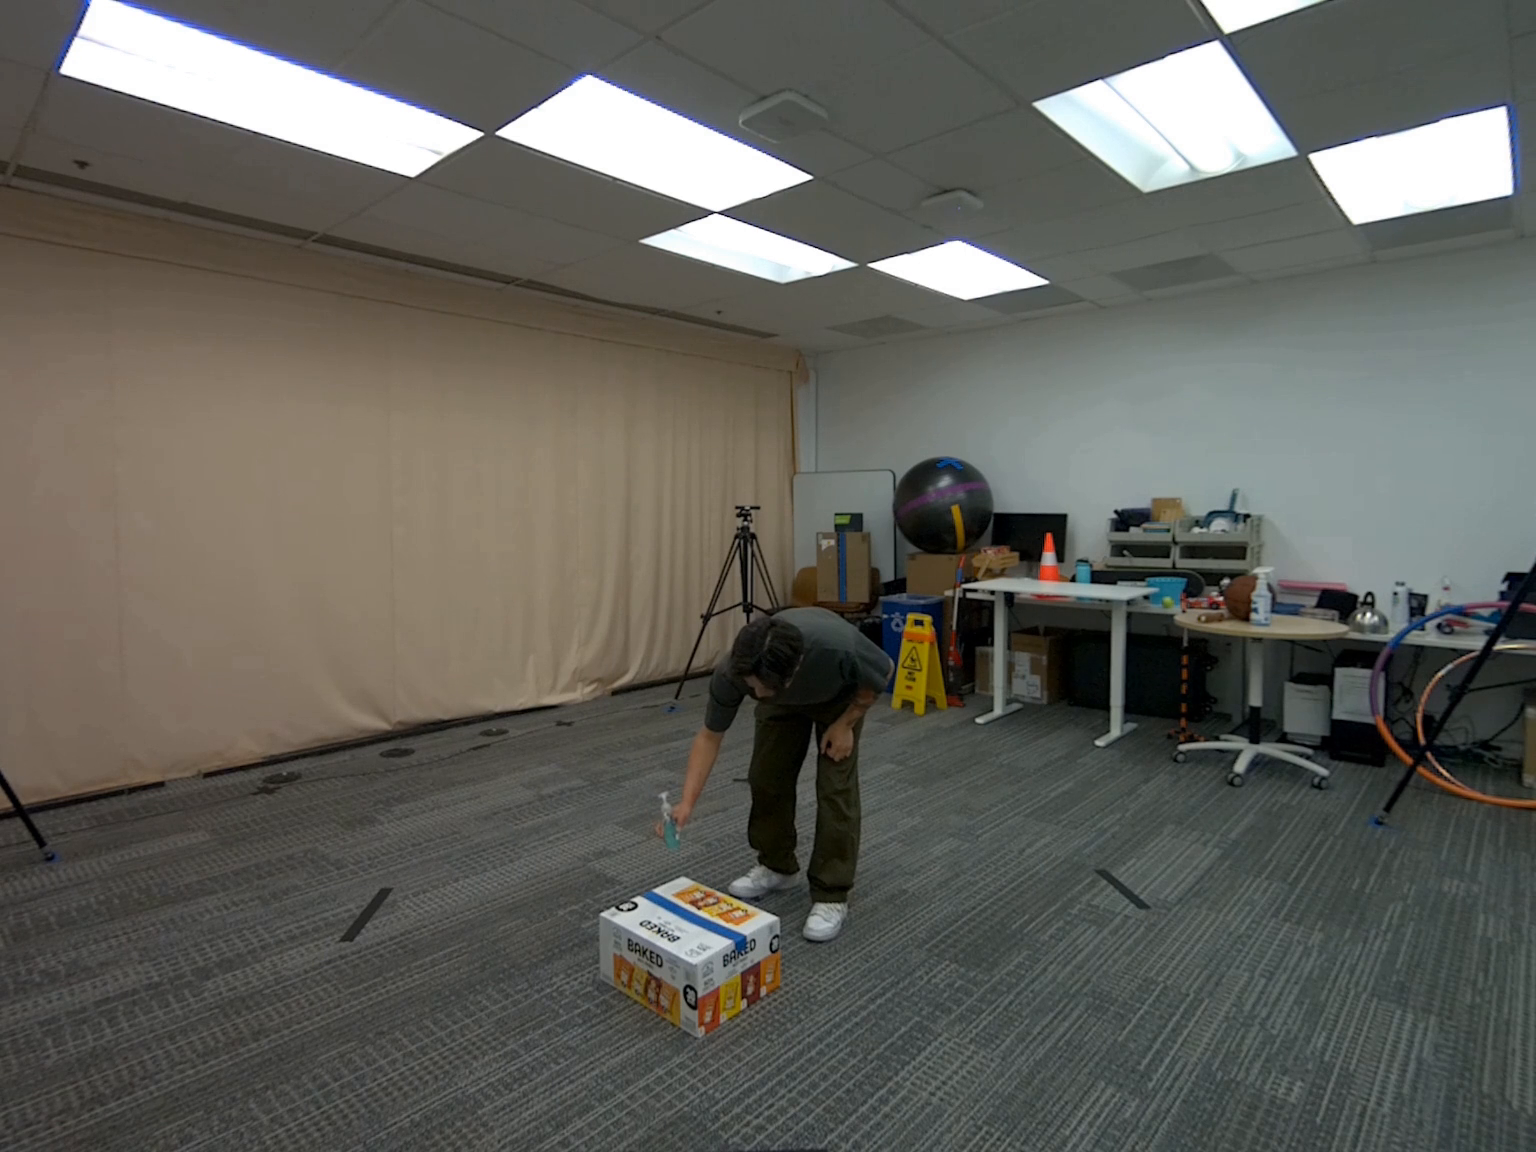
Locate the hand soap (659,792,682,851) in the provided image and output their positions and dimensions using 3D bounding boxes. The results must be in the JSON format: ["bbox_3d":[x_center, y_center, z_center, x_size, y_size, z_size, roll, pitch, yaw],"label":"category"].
[{"bbox_3d":[-0.300,0.749,2.583,0.043,0.168,0.084,-13,2,4],"label":"hand soap"}]
